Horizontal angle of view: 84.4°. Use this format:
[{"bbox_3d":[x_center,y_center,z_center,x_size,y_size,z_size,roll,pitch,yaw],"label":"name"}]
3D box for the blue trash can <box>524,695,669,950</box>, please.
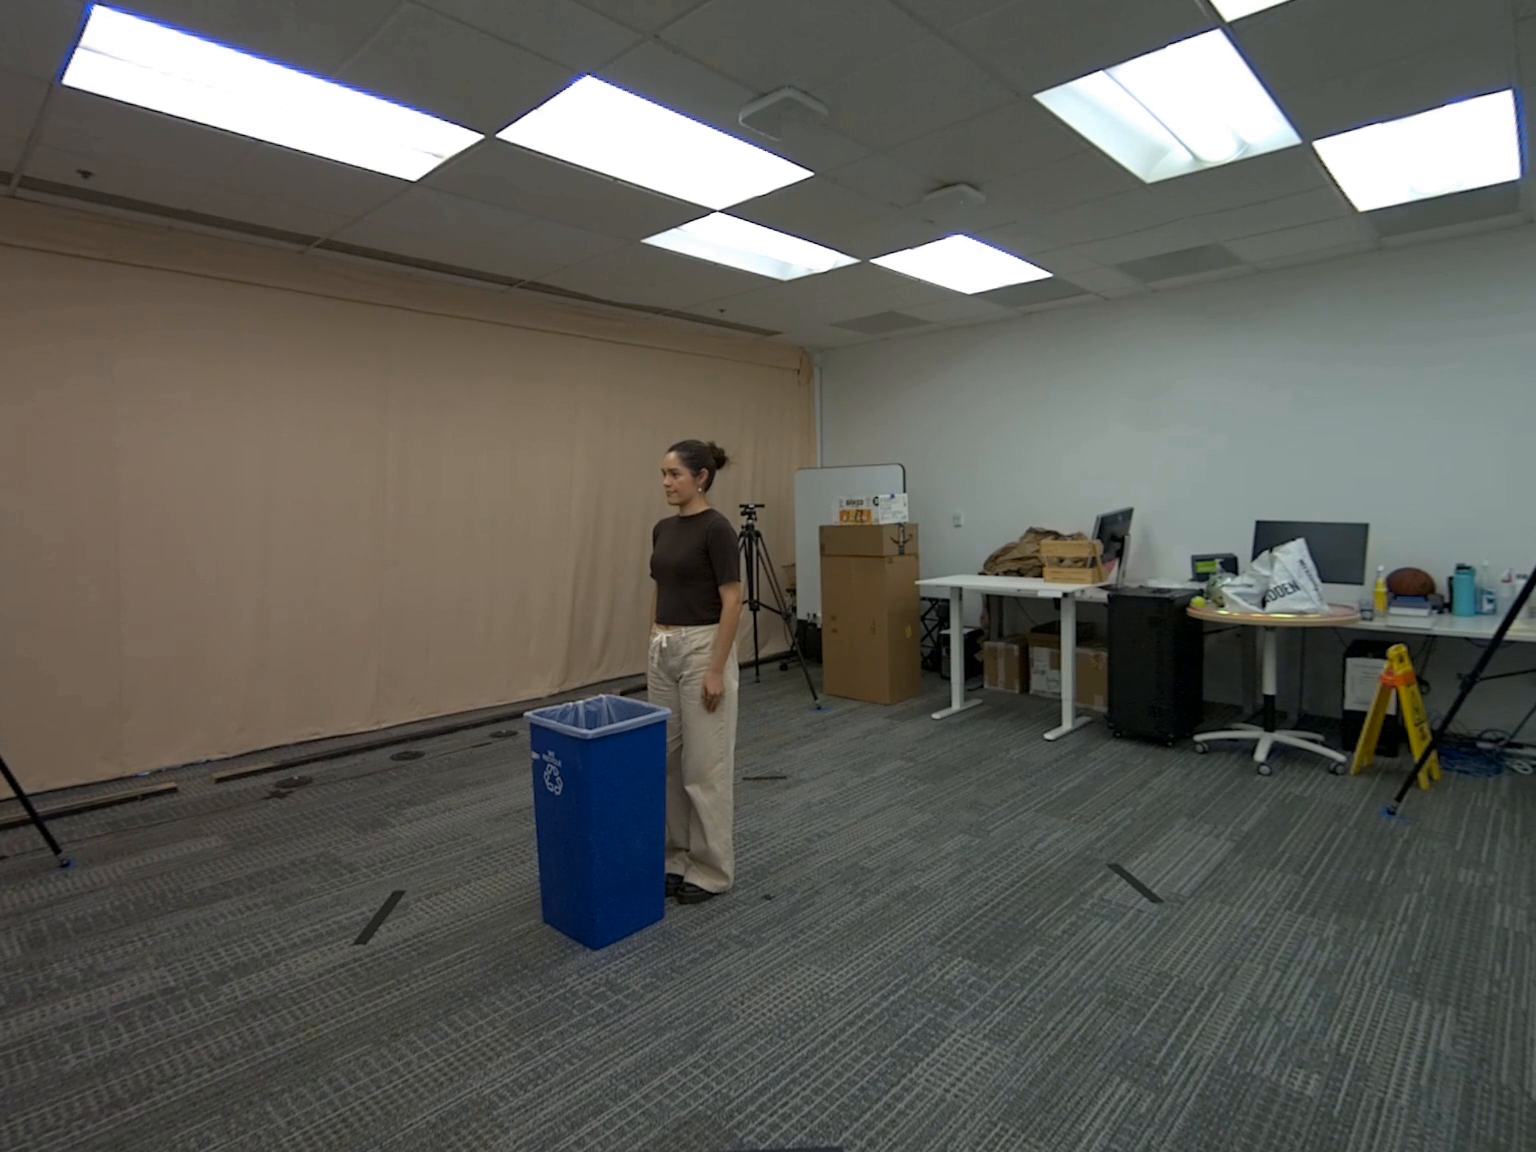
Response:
[{"bbox_3d":[-0.567,0.808,2.823,0.390,0.712,0.363,2,5,42],"label":"blue trash can"}]
